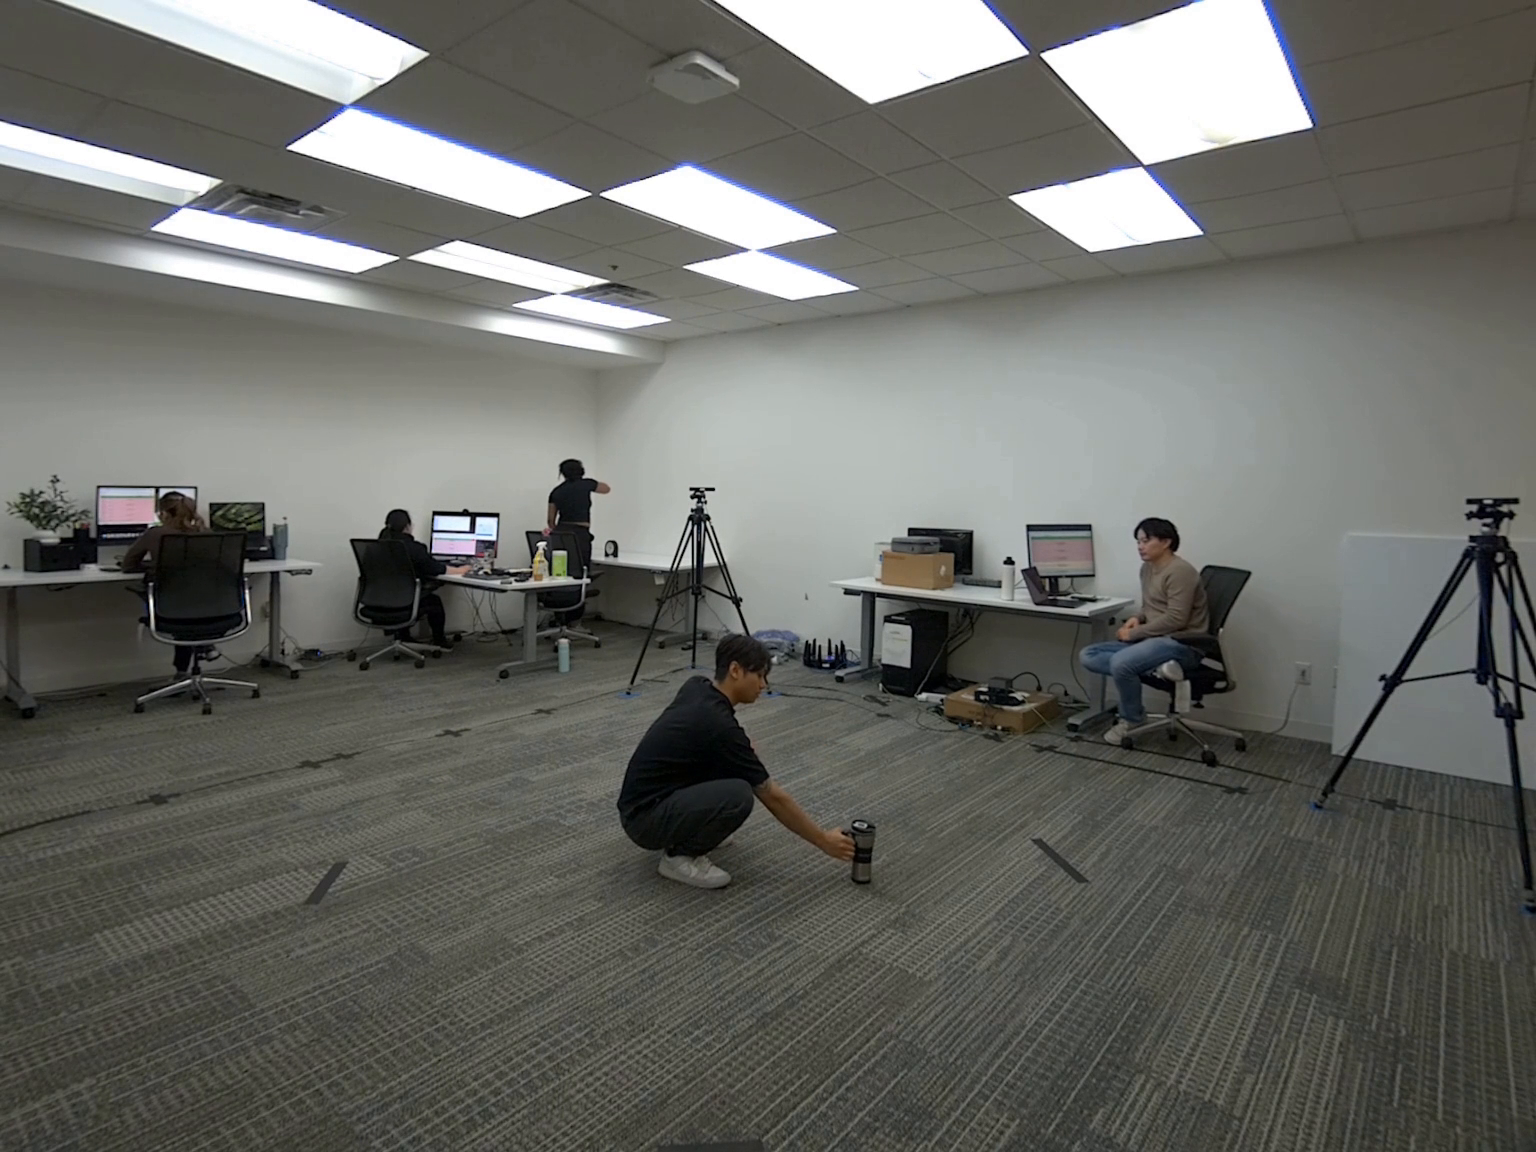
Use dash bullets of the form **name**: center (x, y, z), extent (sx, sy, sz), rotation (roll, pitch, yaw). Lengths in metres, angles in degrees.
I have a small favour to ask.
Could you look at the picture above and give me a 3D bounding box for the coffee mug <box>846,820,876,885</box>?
- **coffee mug**: center (0.317, 0.987, 3.050), extent (0.126, 0.201, 0.085), rotation (10, 11, 36)
